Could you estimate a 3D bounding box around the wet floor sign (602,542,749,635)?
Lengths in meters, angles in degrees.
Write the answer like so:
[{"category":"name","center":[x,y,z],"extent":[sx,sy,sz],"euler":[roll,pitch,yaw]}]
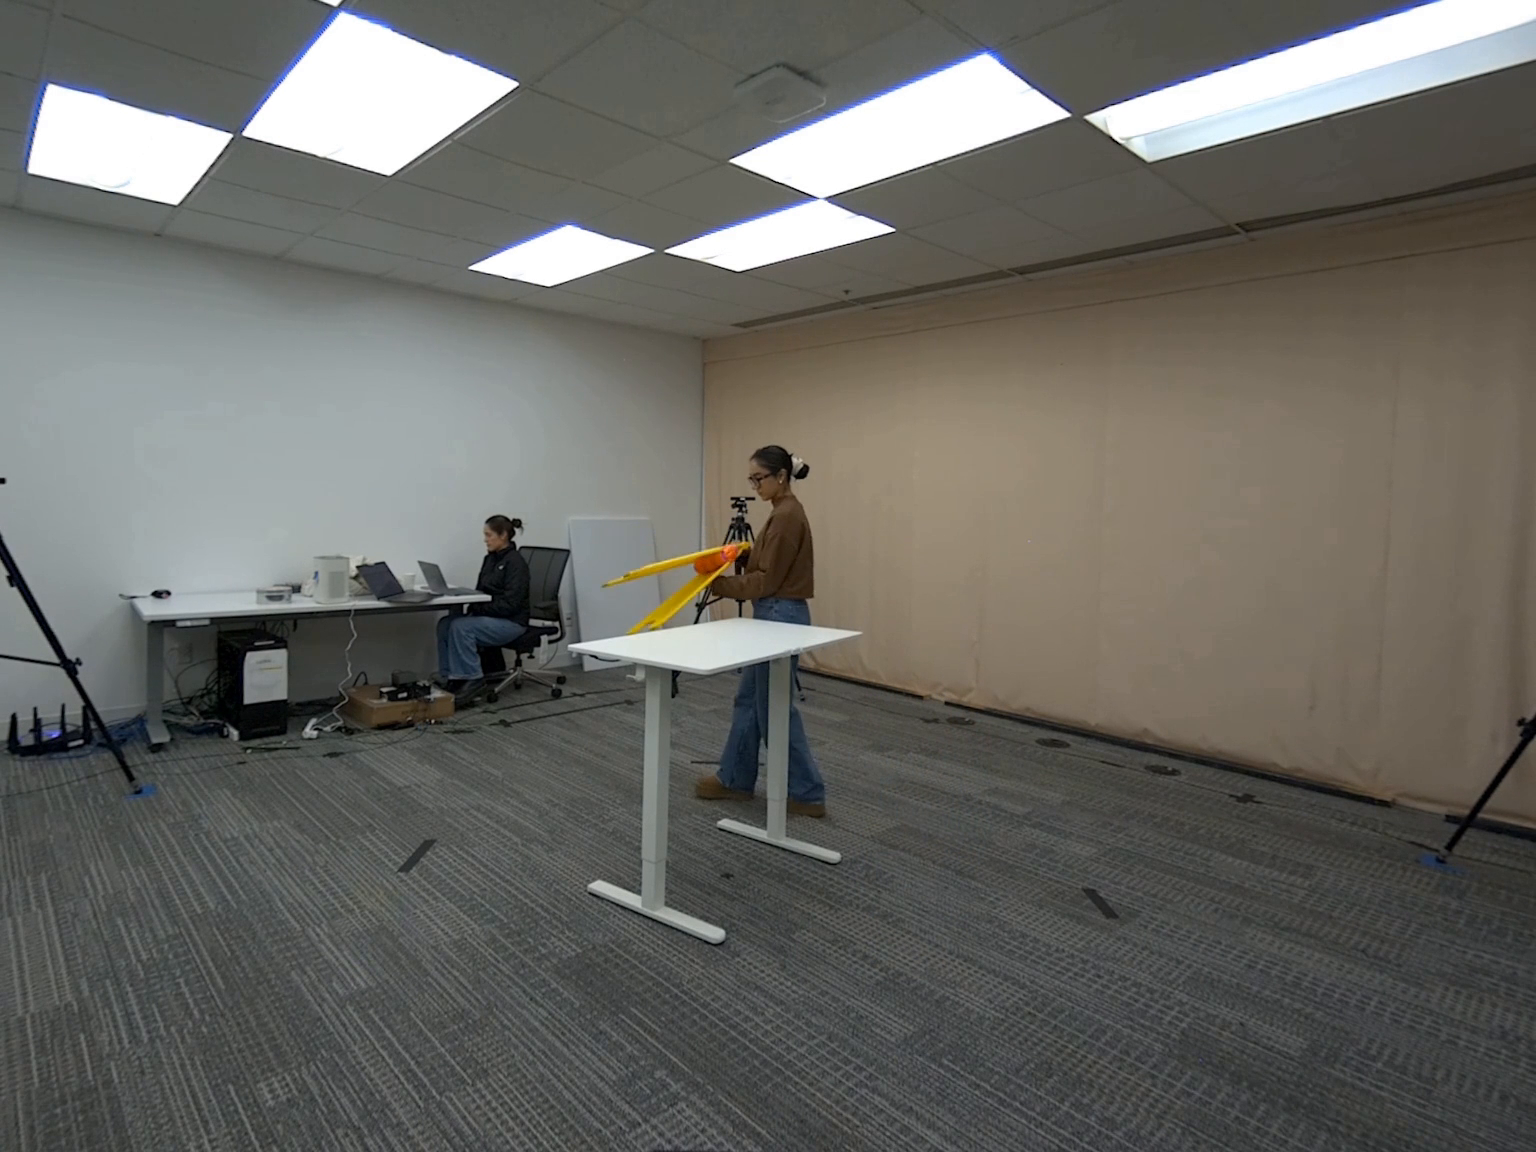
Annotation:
[{"category":"wet floor sign","center":[-0.364,-0.004,3.663],"extent":[0.640,0.288,0.286],"euler":[-31,7,-38]}]
